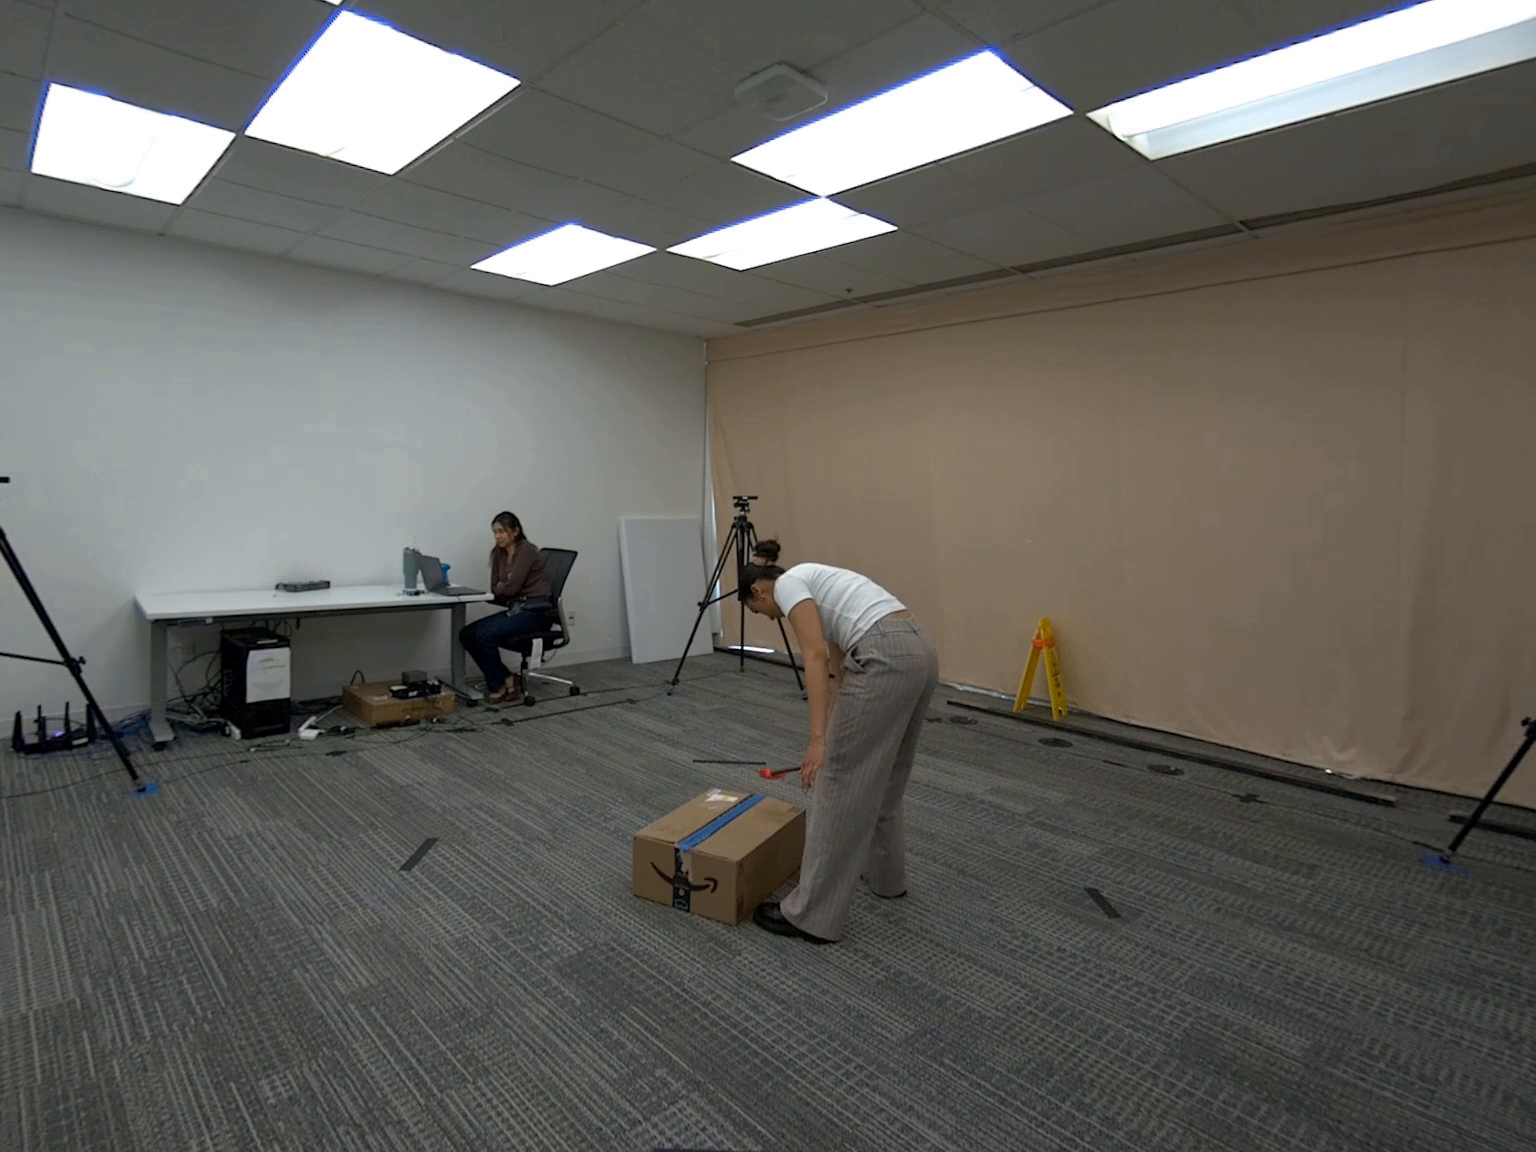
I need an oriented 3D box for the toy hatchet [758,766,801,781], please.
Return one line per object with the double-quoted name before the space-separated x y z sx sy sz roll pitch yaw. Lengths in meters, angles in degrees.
"toy hatchet" 0.094 0.743 3.144 0.272 0.030 0.127 -6 -31 8
